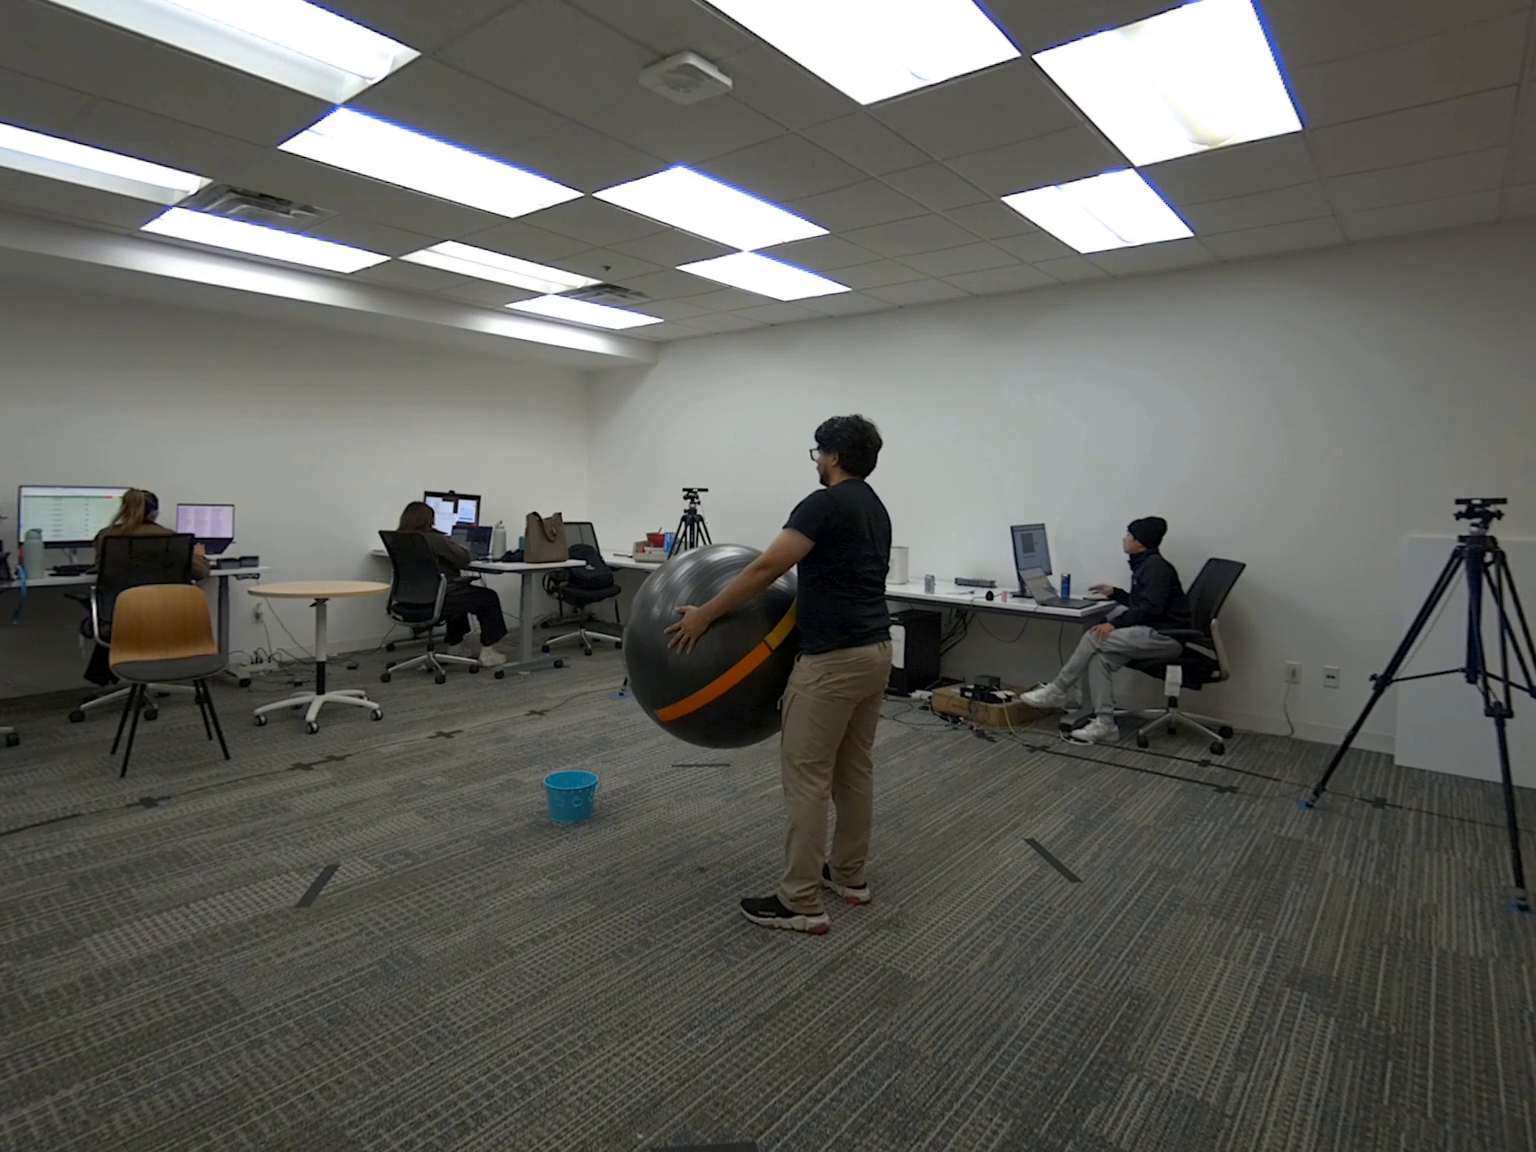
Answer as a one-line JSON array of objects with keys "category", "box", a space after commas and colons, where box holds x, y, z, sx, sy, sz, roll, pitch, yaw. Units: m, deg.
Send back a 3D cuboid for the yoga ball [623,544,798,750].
[{"category": "yoga ball", "box": [-0.179, 0.262, 3.192, 0.757, 0.756, 0.762, 1, 4, -2]}]
